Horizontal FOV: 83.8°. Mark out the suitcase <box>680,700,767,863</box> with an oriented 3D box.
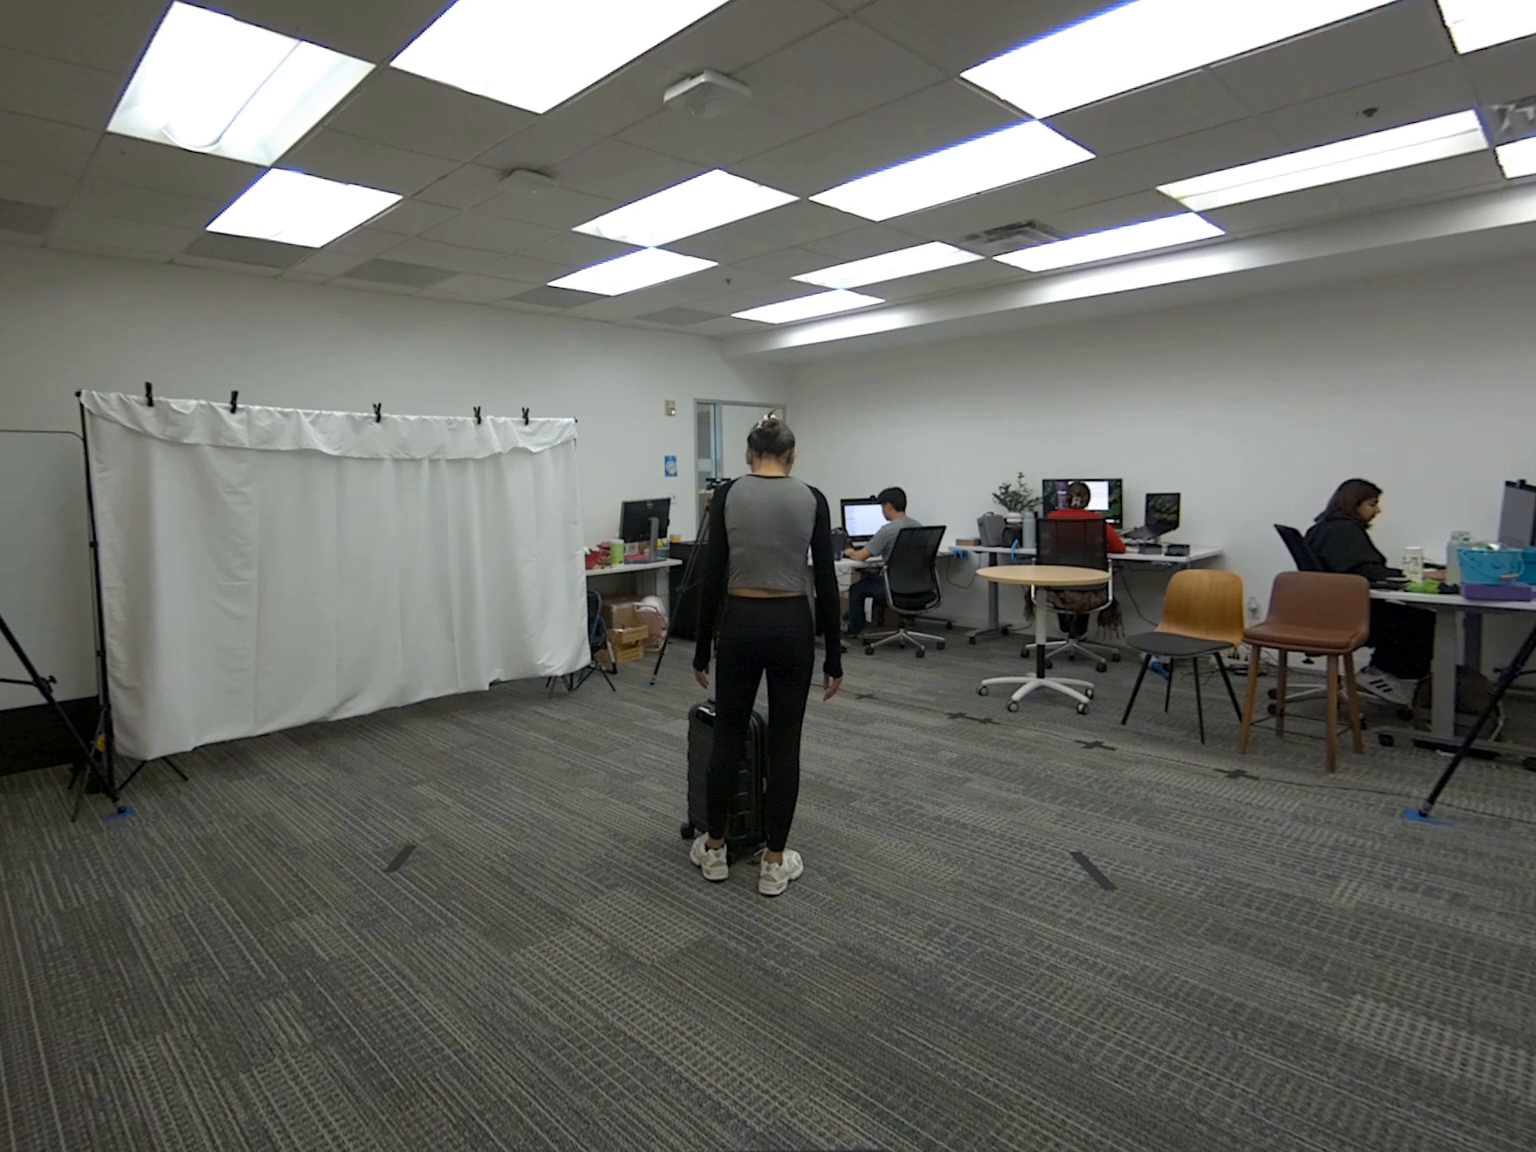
[{"bbox_3d":[-0.132,0.751,3.258,0.242,0.548,0.386,-2,4,-34],"label":"suitcase"}]
